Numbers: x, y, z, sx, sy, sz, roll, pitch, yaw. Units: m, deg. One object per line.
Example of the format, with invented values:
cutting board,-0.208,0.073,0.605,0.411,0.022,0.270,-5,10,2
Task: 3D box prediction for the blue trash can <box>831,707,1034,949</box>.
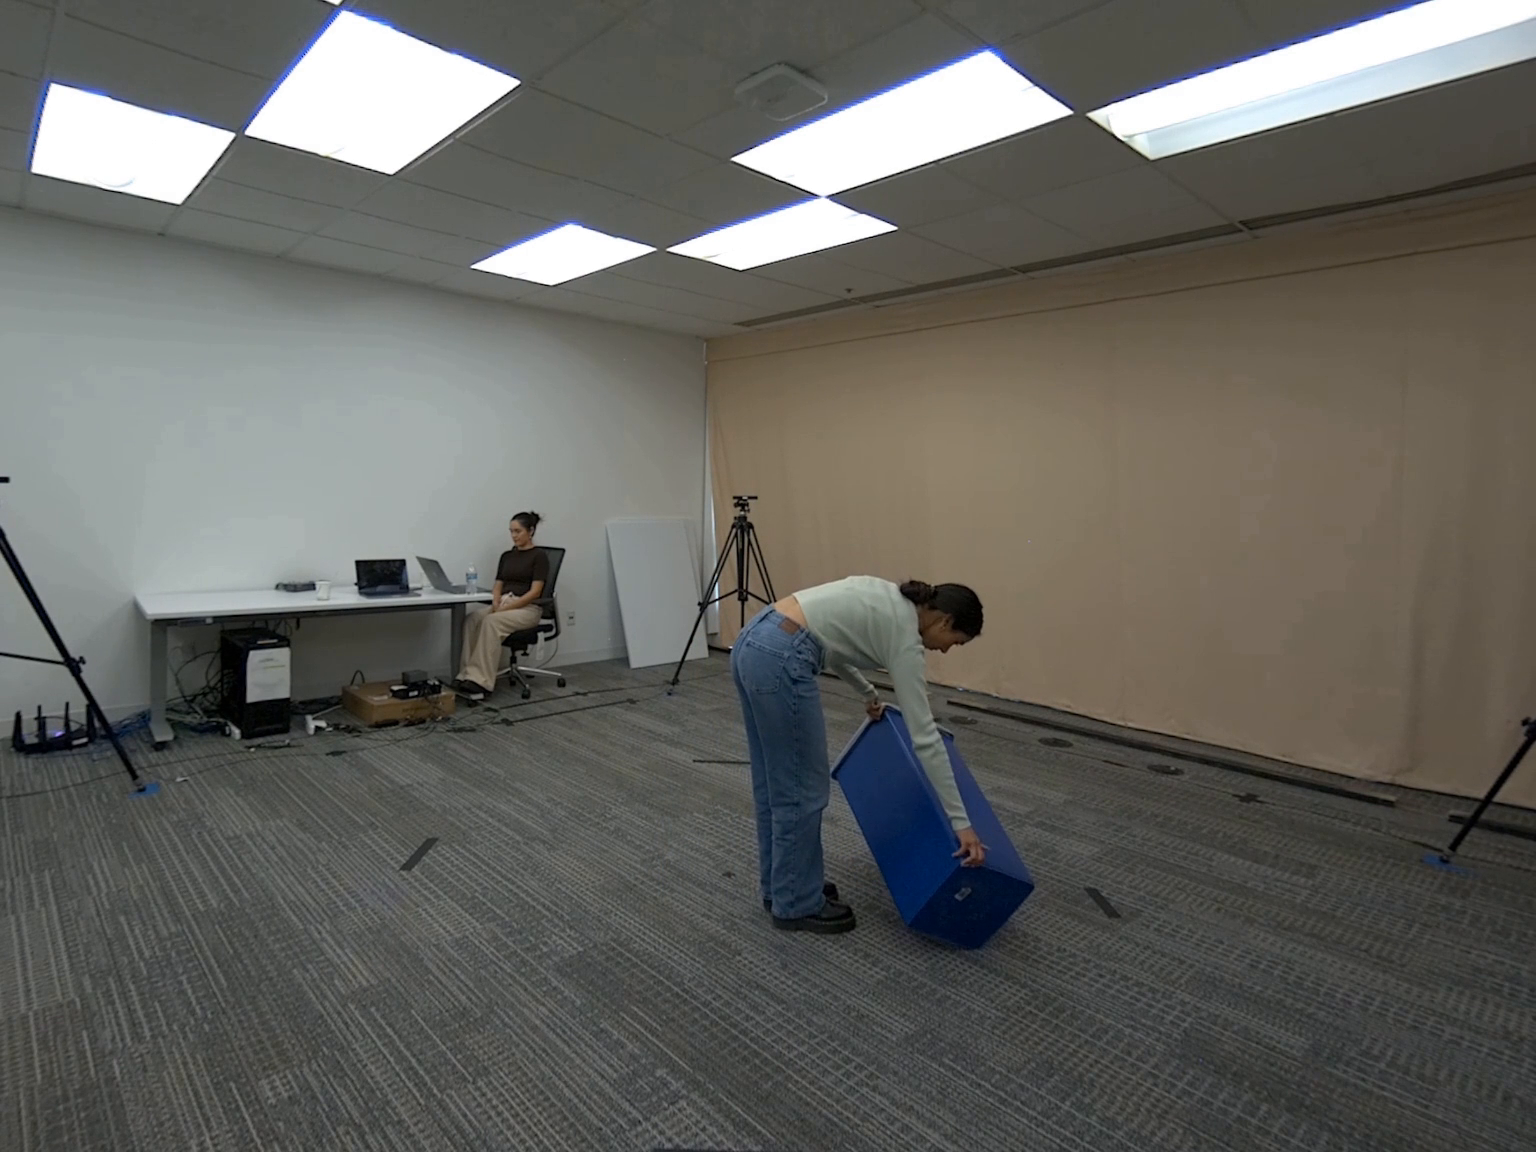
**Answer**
blue trash can,0.527,0.812,2.846,0.366,0.377,0.731,25,17,-23
